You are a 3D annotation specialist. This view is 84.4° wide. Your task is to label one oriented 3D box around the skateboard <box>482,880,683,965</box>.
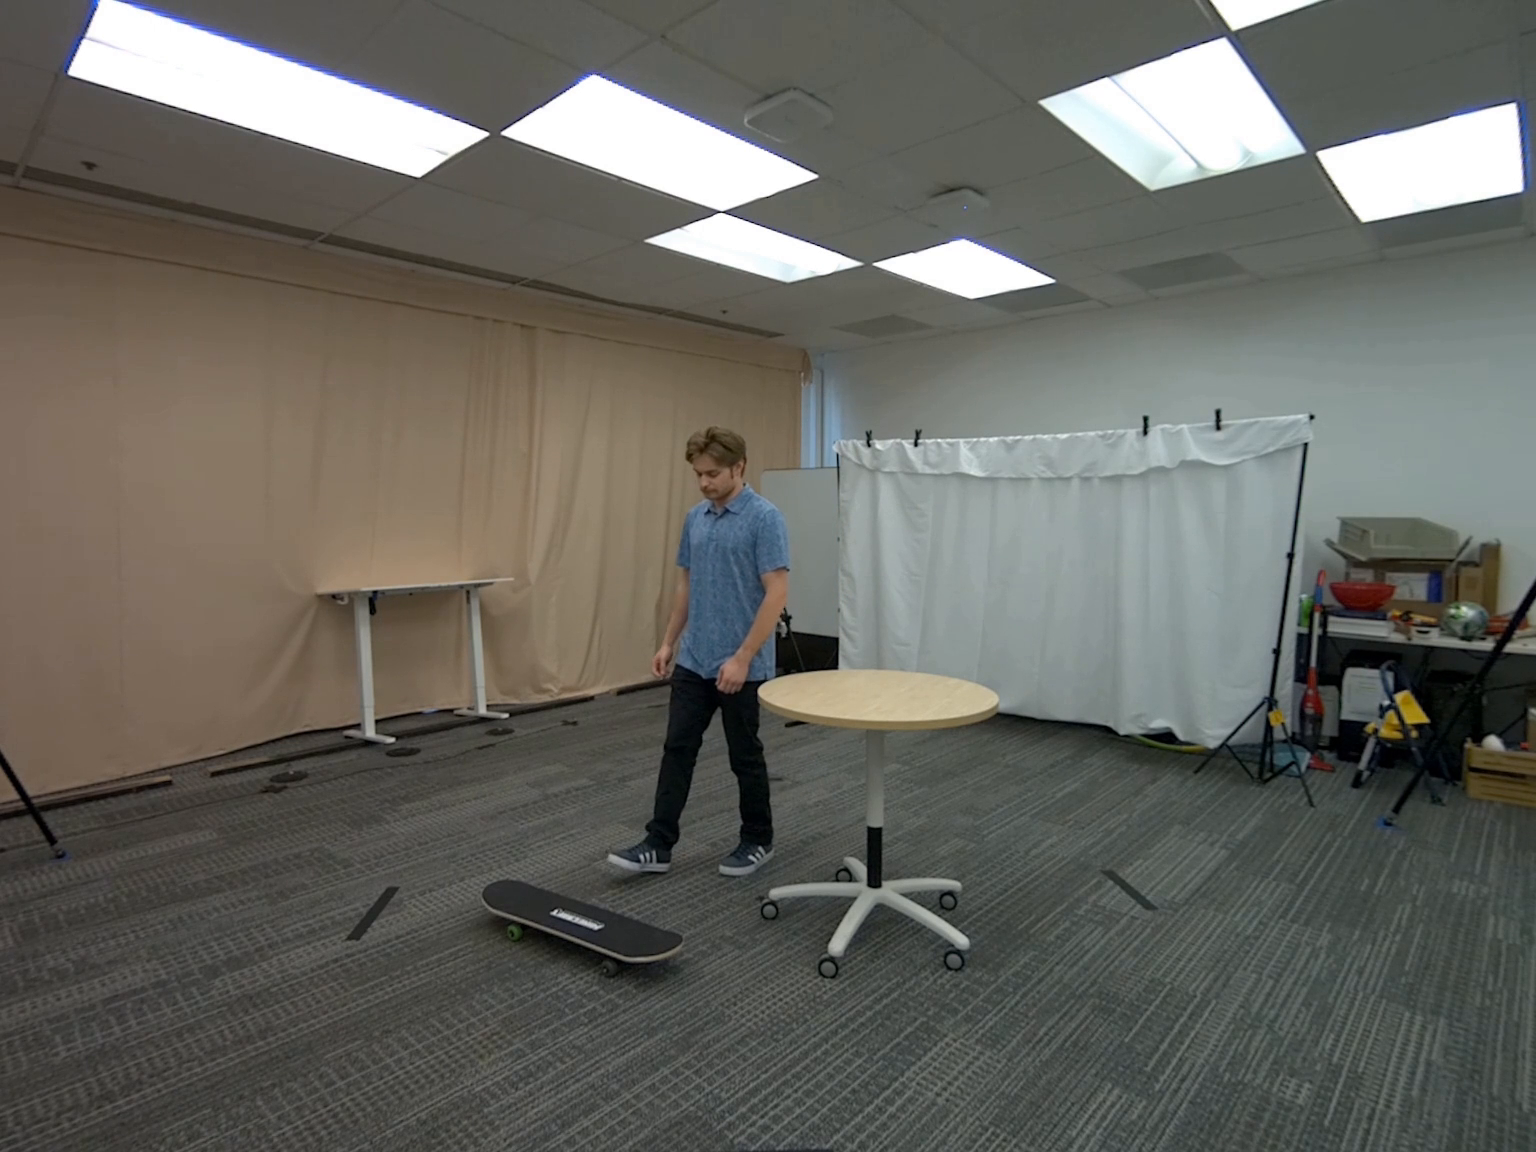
[{"bbox_3d":[-0.601,1.113,2.664,0.808,0.110,0.188,2,5,31],"label":"skateboard"}]
